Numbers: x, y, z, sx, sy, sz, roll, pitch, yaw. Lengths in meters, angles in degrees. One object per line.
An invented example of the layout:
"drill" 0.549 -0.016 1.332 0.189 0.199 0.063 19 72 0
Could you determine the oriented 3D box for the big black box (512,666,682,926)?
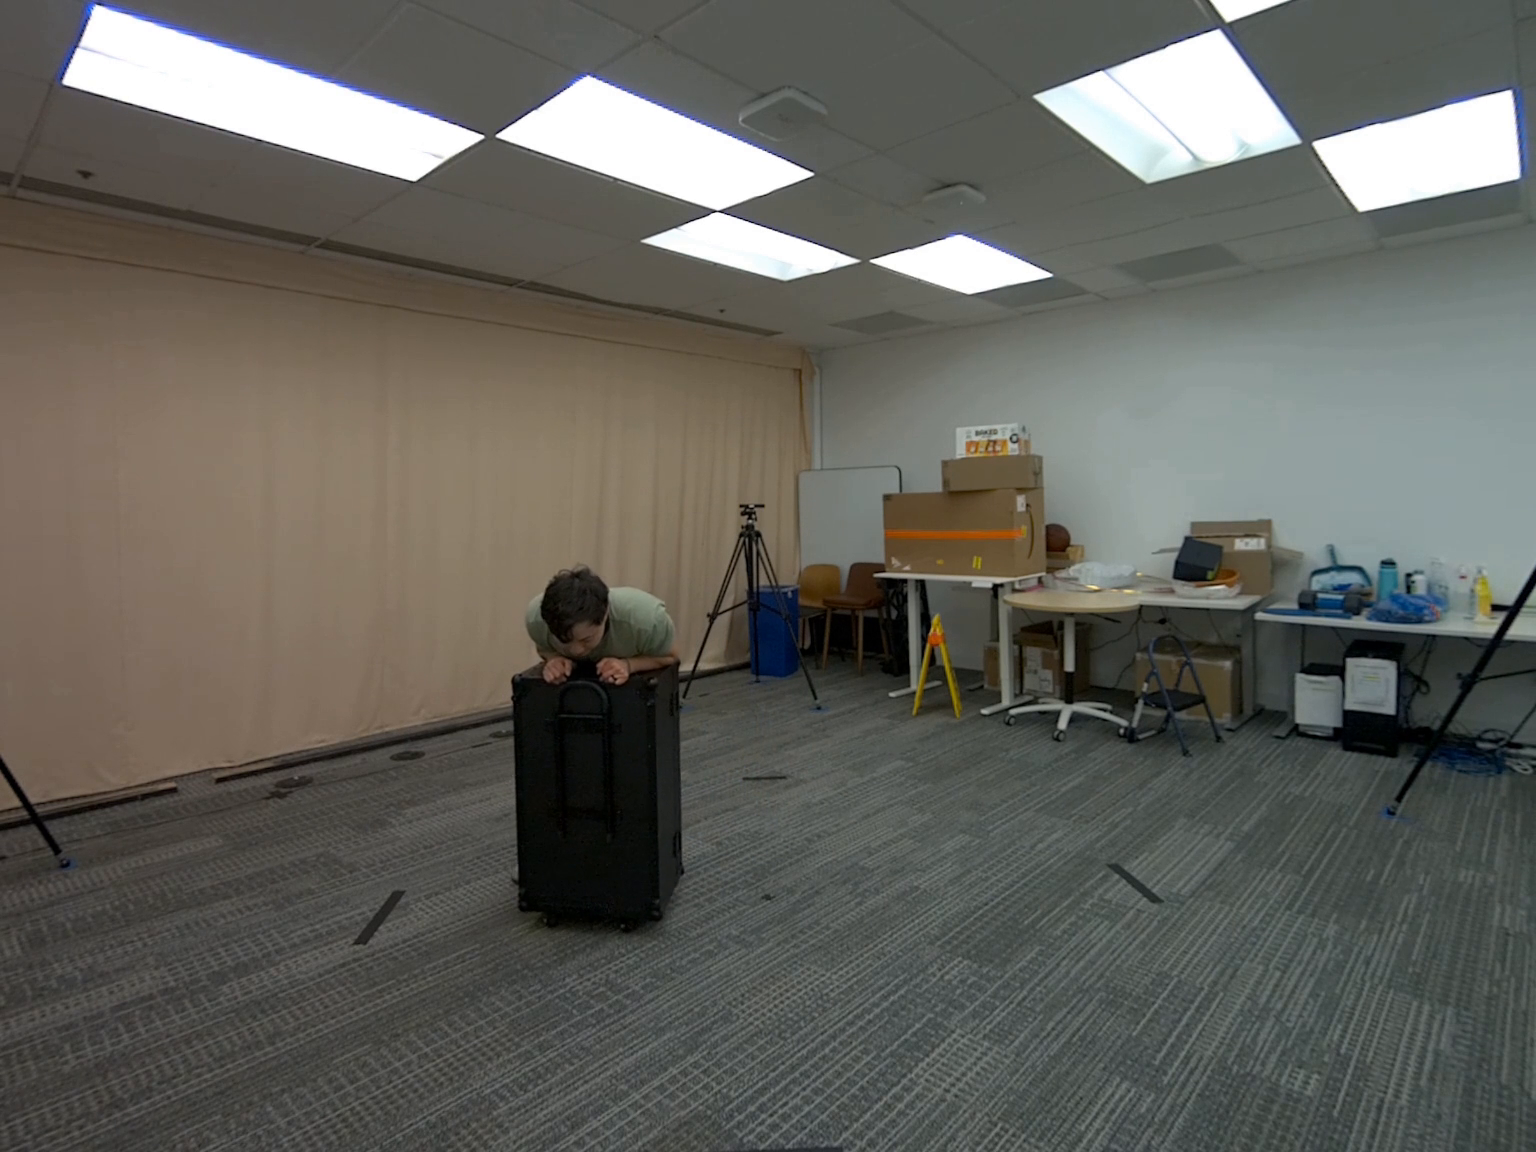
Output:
"big black box" -0.562 0.740 2.871 0.527 0.859 0.393 0 4 9
